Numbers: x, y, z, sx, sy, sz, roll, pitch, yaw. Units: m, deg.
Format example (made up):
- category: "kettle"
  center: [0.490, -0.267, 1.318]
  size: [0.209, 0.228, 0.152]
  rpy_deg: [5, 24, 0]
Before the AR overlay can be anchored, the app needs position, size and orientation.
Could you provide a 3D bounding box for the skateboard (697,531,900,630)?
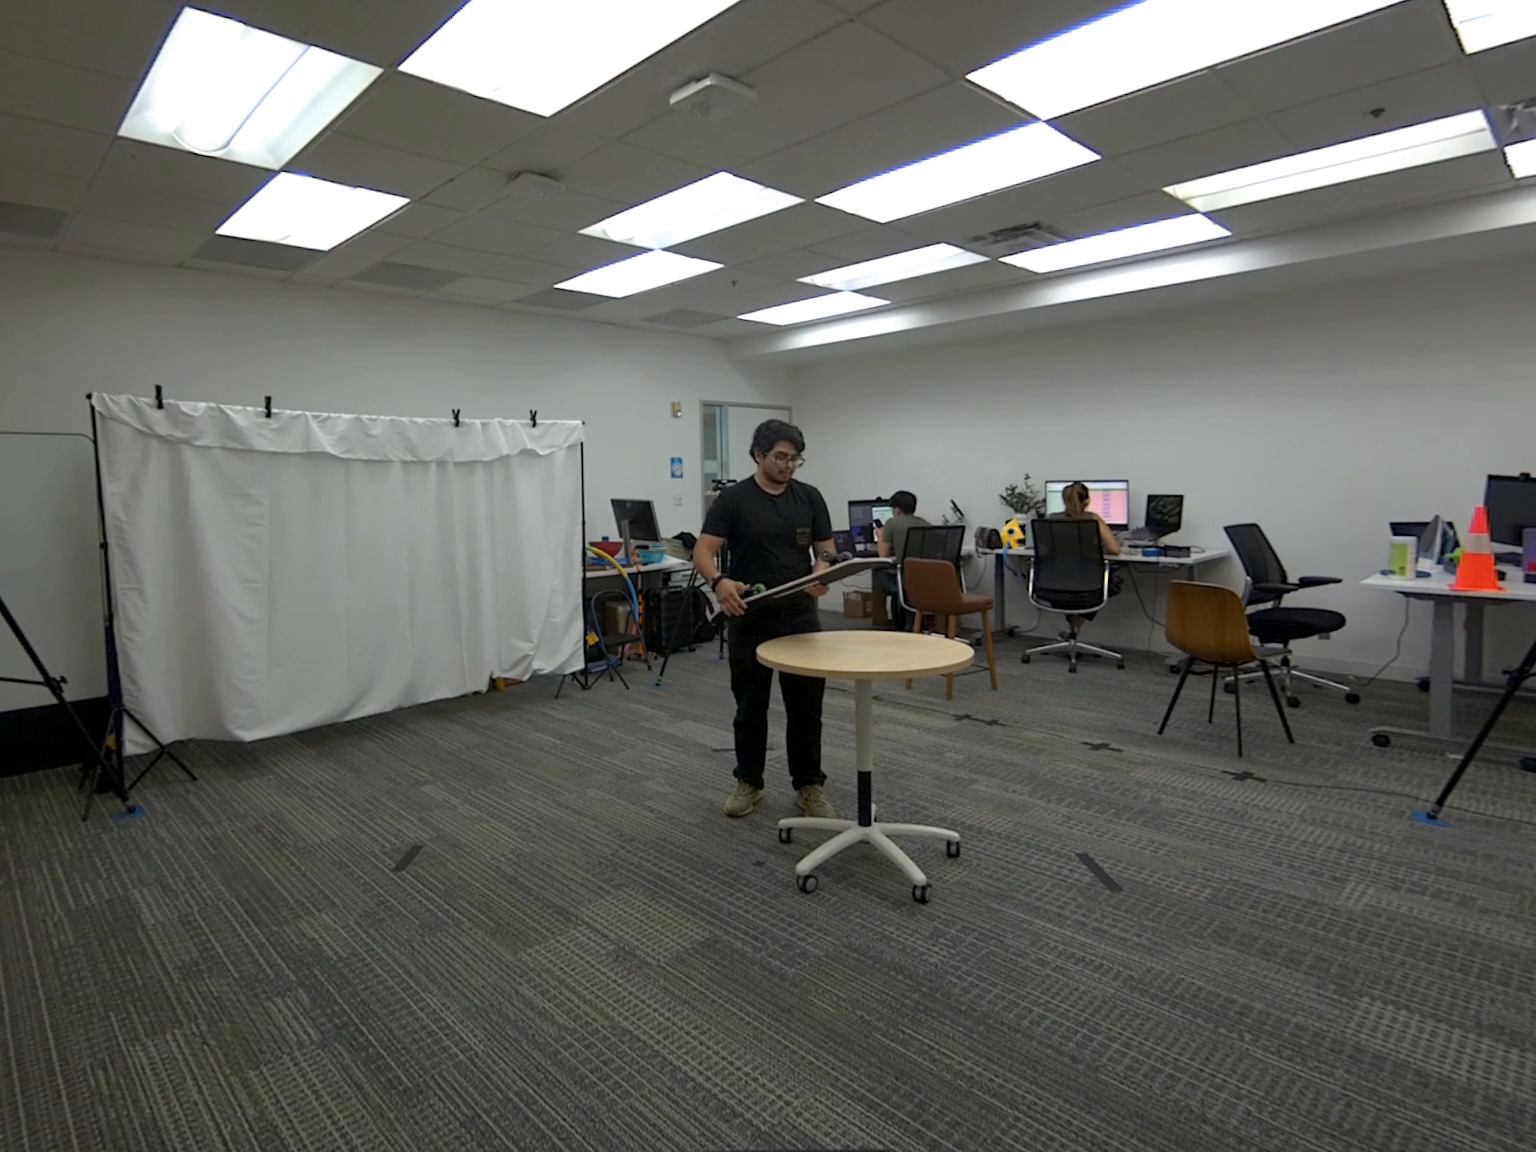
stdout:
- category: "skateboard"
  center: [0.096, 0.031, 3.258]
  size: [0.797, 0.112, 0.187]
  rpy_deg: [-22, -19, 33]
